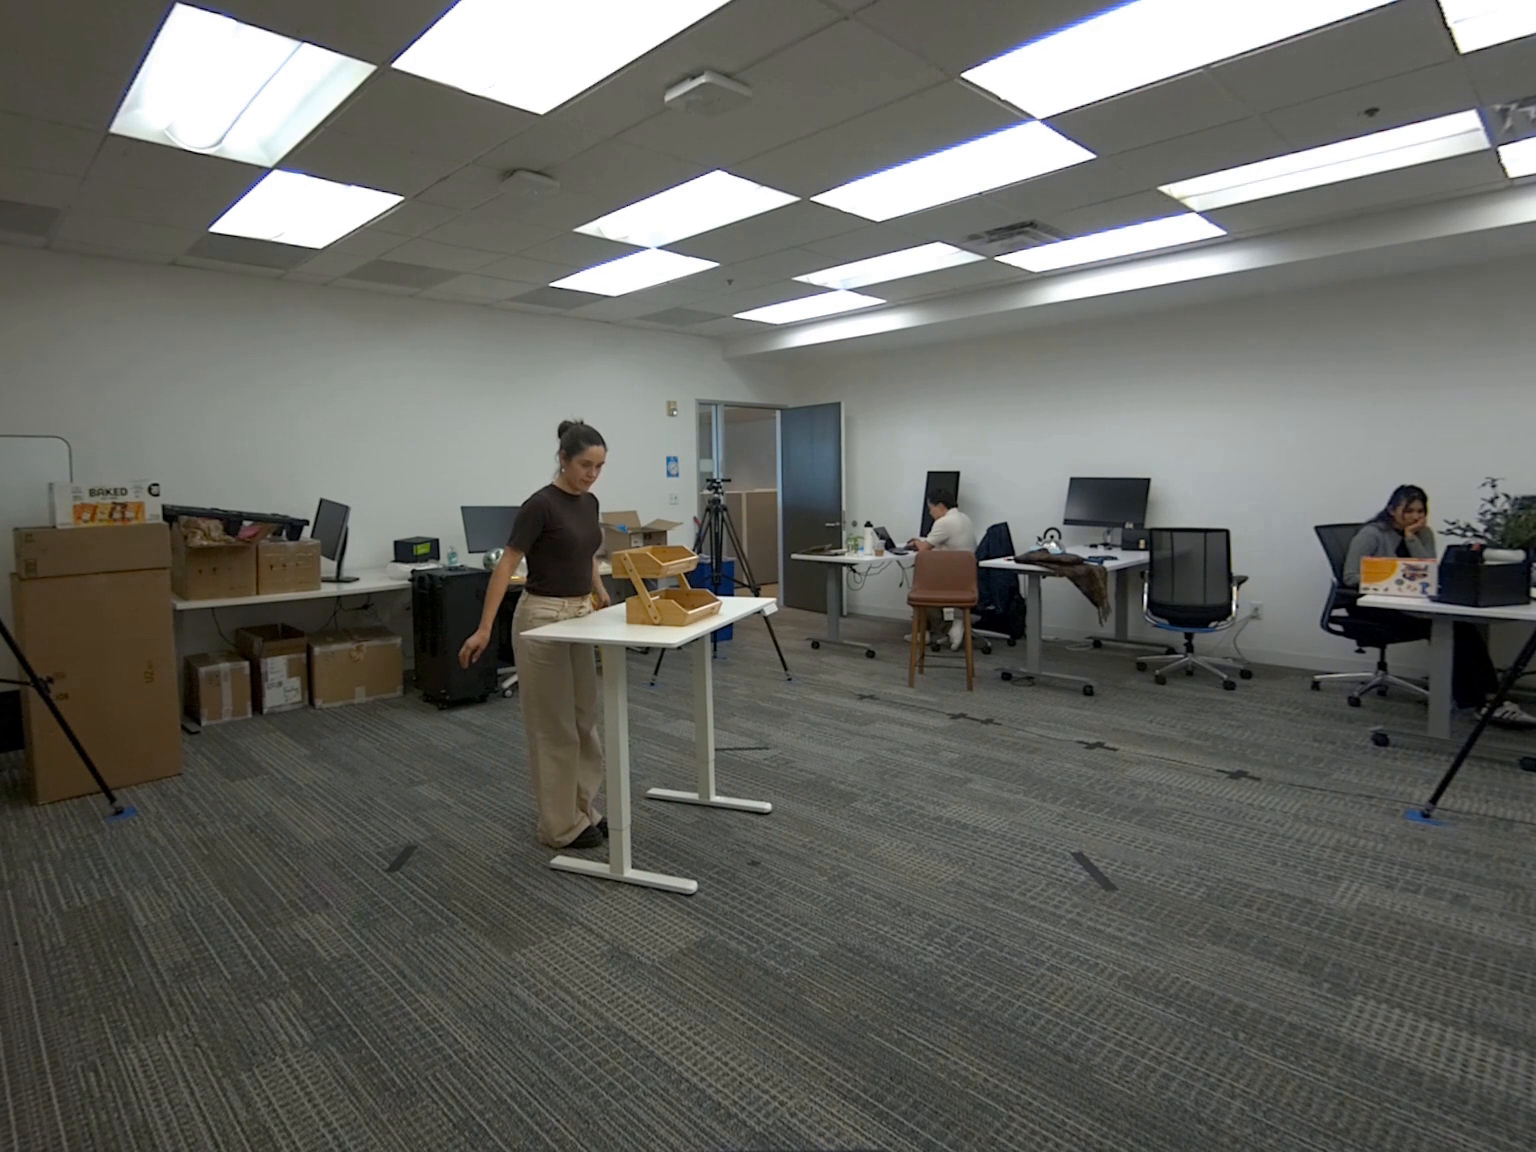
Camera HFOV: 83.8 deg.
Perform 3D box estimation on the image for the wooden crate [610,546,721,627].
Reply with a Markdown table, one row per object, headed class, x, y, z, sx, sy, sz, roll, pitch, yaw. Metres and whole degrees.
| class | x | y | z | sx | sy | sz | roll | pitch | yaw |
| --- | --- | --- | --- | --- | --- | --- | --- | --- | --- |
| wooden crate | -0.372 | 0.026 | 3.182 | 0.308 | 0.272 | 0.319 | 0 | 5 | 23 |
